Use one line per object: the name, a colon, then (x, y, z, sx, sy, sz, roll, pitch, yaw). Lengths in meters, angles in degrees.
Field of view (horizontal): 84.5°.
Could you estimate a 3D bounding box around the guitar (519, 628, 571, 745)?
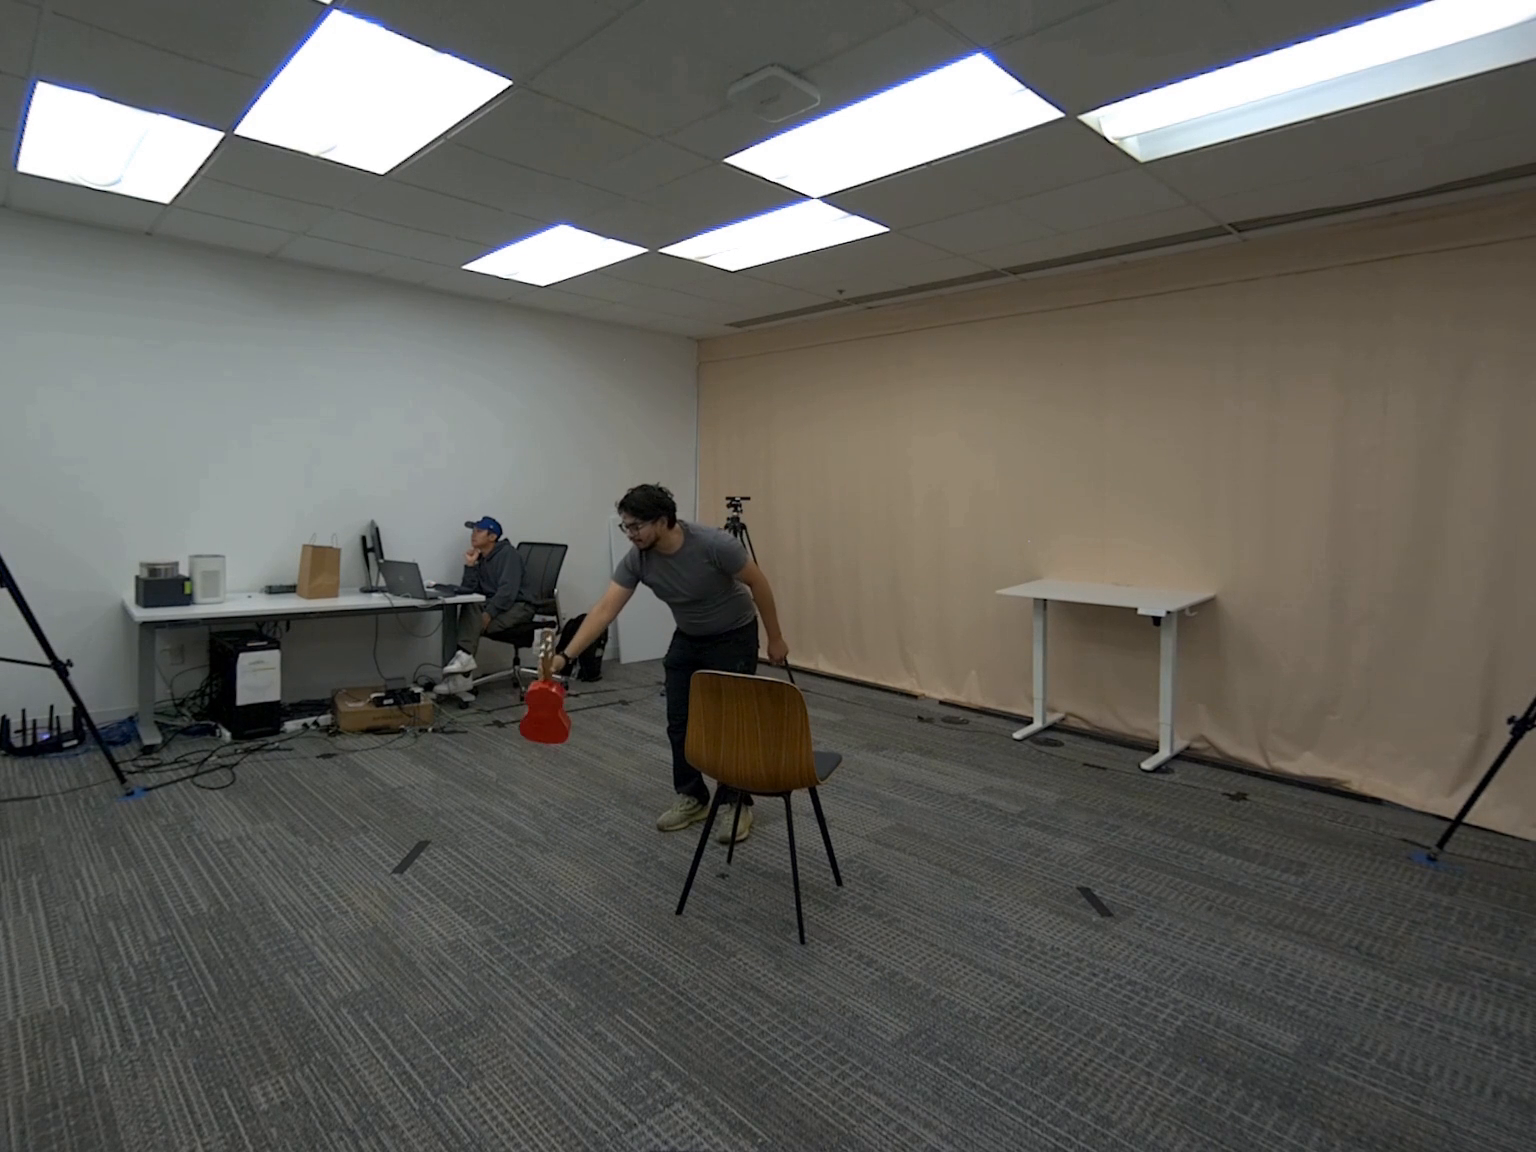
guitar: (-0.879, 0.426, 3.205, 0.193, 0.489, 0.072, 0, 27, 3)
